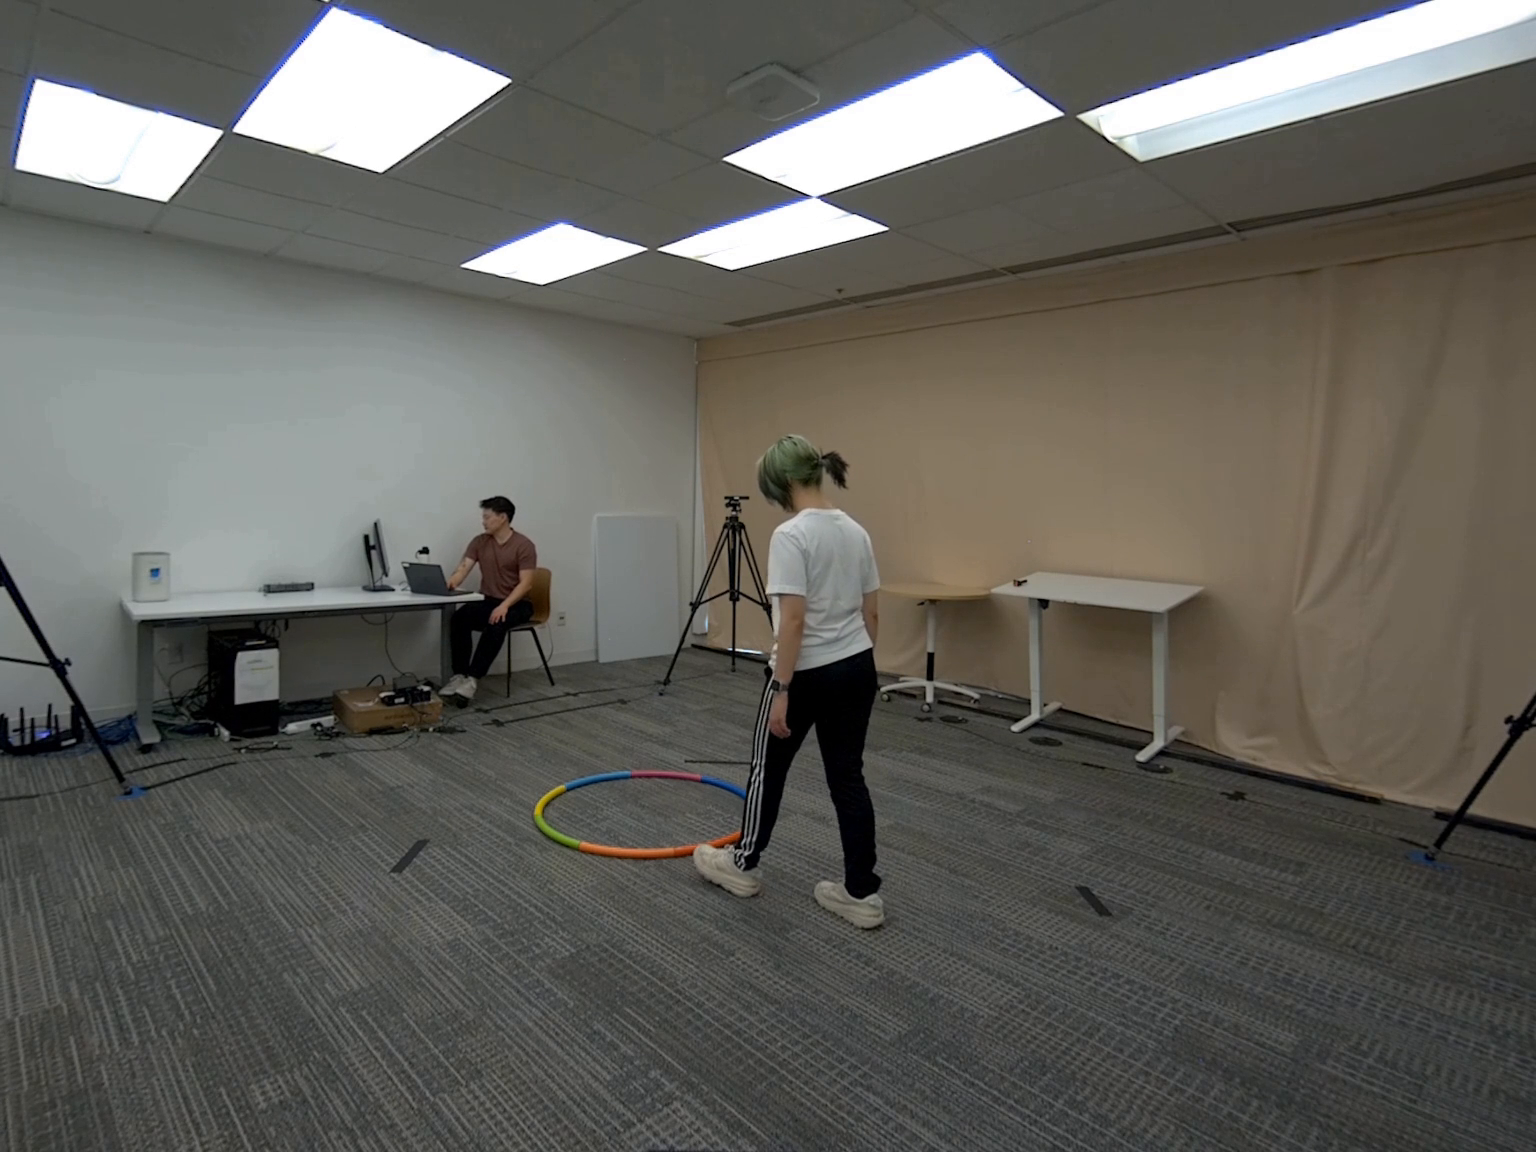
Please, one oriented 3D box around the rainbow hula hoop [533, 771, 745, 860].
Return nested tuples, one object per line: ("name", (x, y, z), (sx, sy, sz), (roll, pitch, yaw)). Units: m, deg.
("rainbow hula hoop", (-0.527, 1.010, 3.699), (0.978, 0.035, 0.982), (2, 5, -1))
